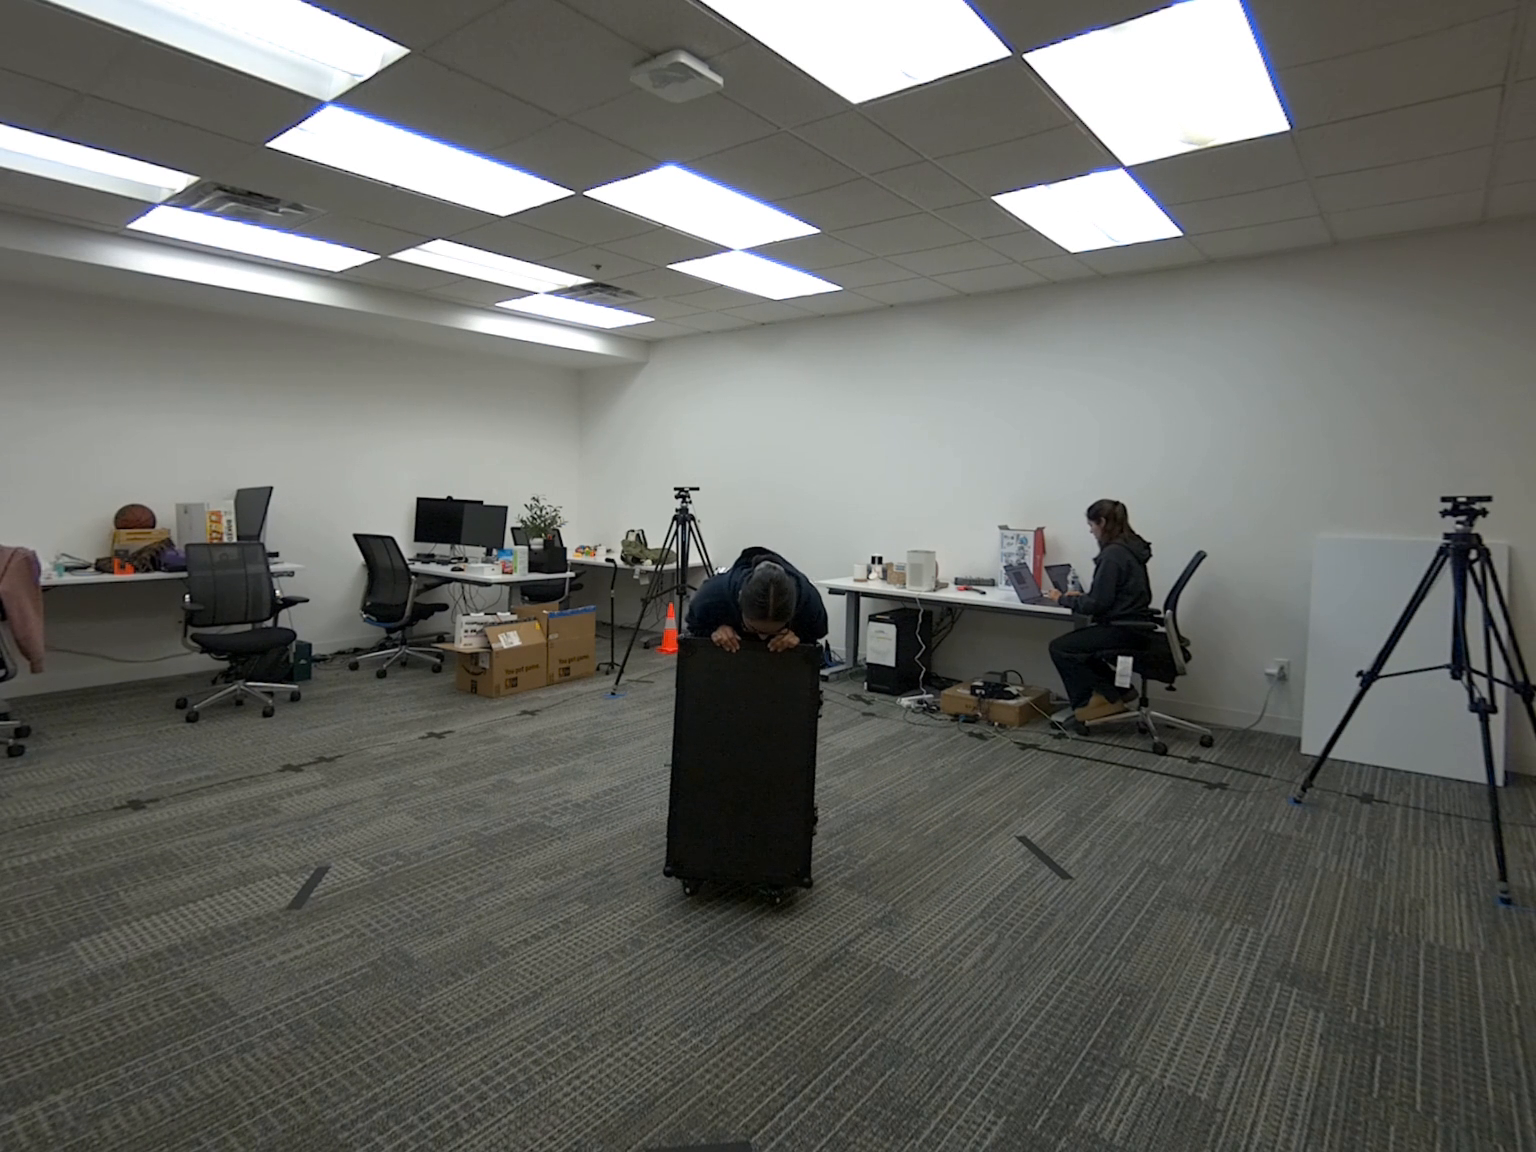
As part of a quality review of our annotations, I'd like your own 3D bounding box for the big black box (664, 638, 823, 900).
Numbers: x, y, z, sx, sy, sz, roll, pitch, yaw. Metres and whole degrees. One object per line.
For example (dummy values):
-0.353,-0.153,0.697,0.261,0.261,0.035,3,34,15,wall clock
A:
-0.099,0.648,2.982,0.524,0.865,0.393,3,-5,3,big black box
